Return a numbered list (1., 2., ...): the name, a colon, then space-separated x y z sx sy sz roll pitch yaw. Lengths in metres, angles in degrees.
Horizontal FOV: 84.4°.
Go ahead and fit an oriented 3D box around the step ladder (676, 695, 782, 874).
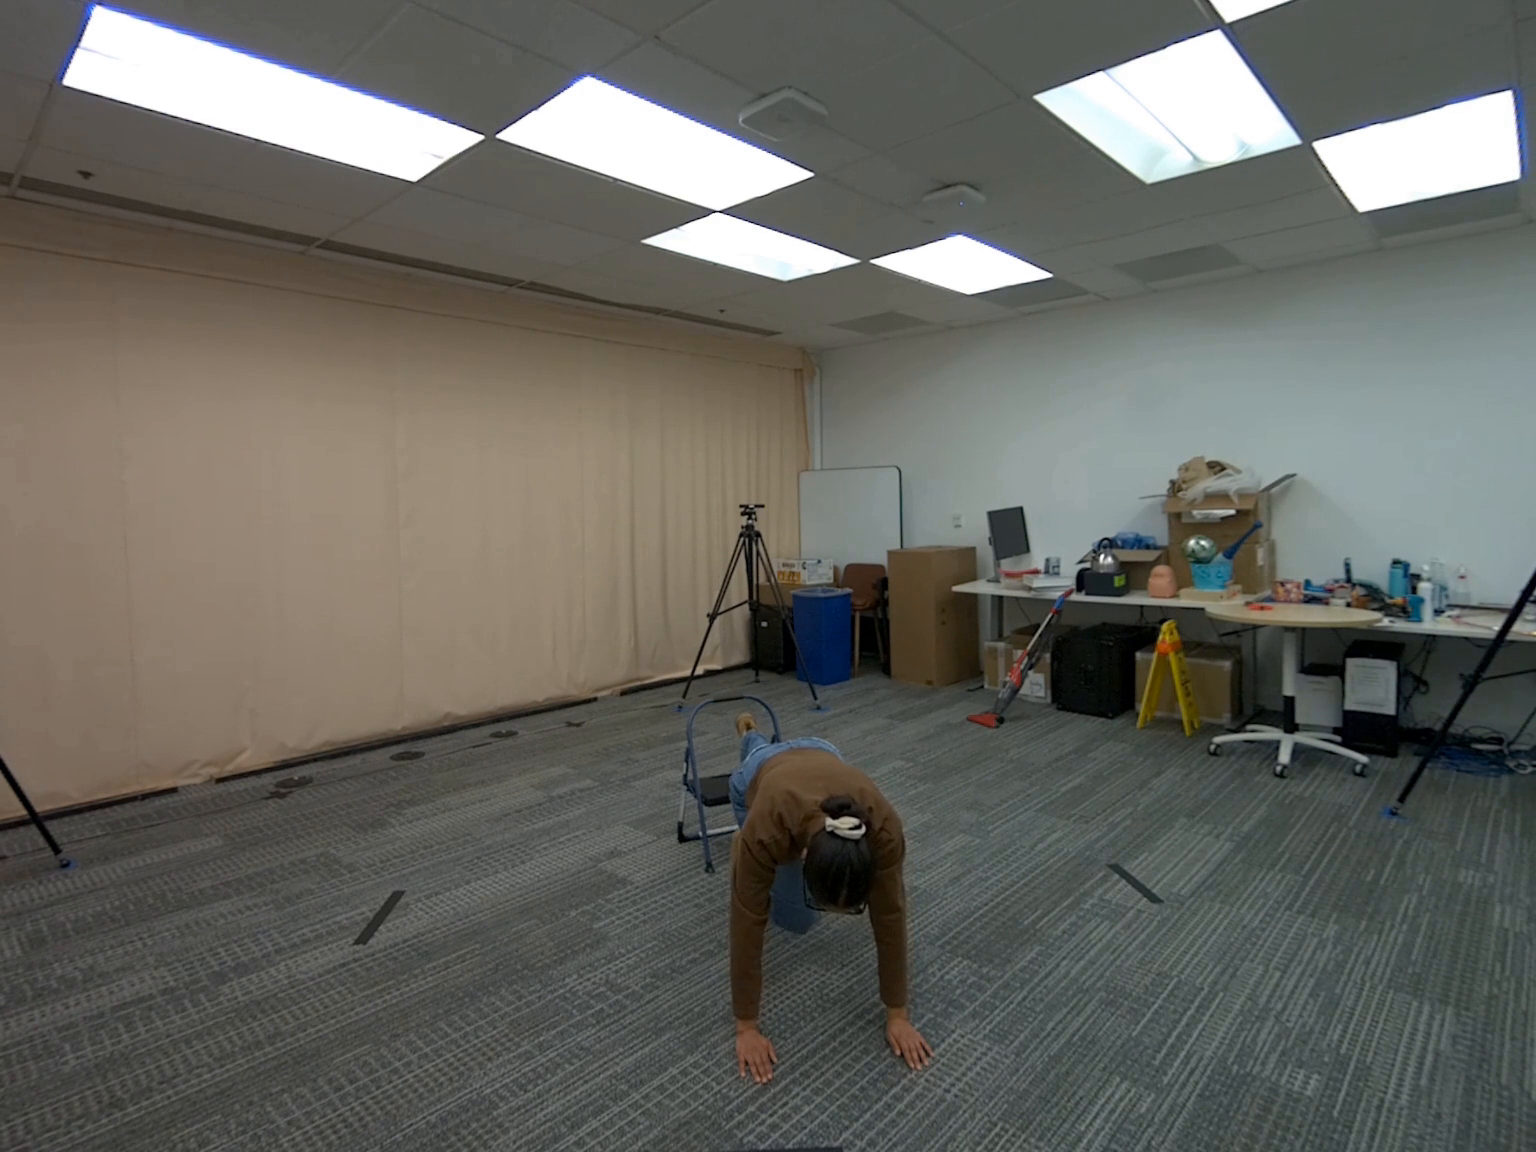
1. step ladder: -0.122 0.805 3.415 0.420 0.605 0.358 -3 4 -26
